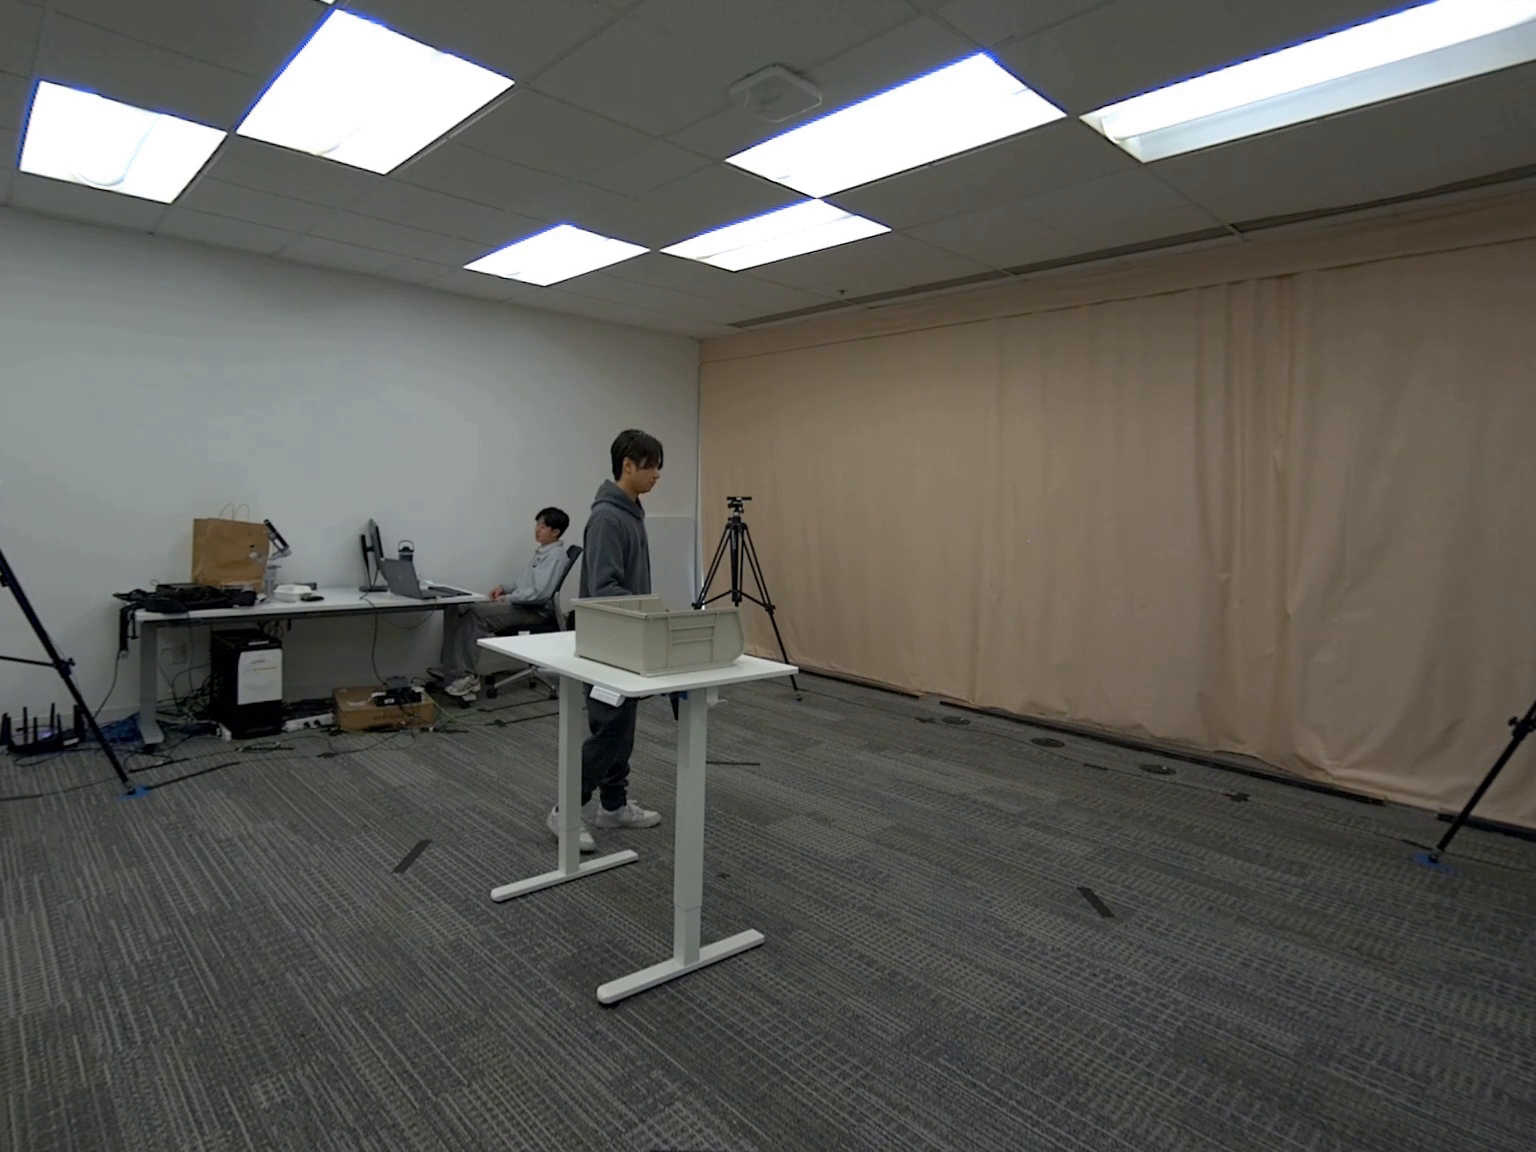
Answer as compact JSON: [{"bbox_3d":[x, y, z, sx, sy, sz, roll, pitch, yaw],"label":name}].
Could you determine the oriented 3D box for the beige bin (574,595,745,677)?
[{"bbox_3d":[-0.346,0.176,2.596,0.369,0.188,0.433,-3,6,-41],"label":"beige bin"}]
